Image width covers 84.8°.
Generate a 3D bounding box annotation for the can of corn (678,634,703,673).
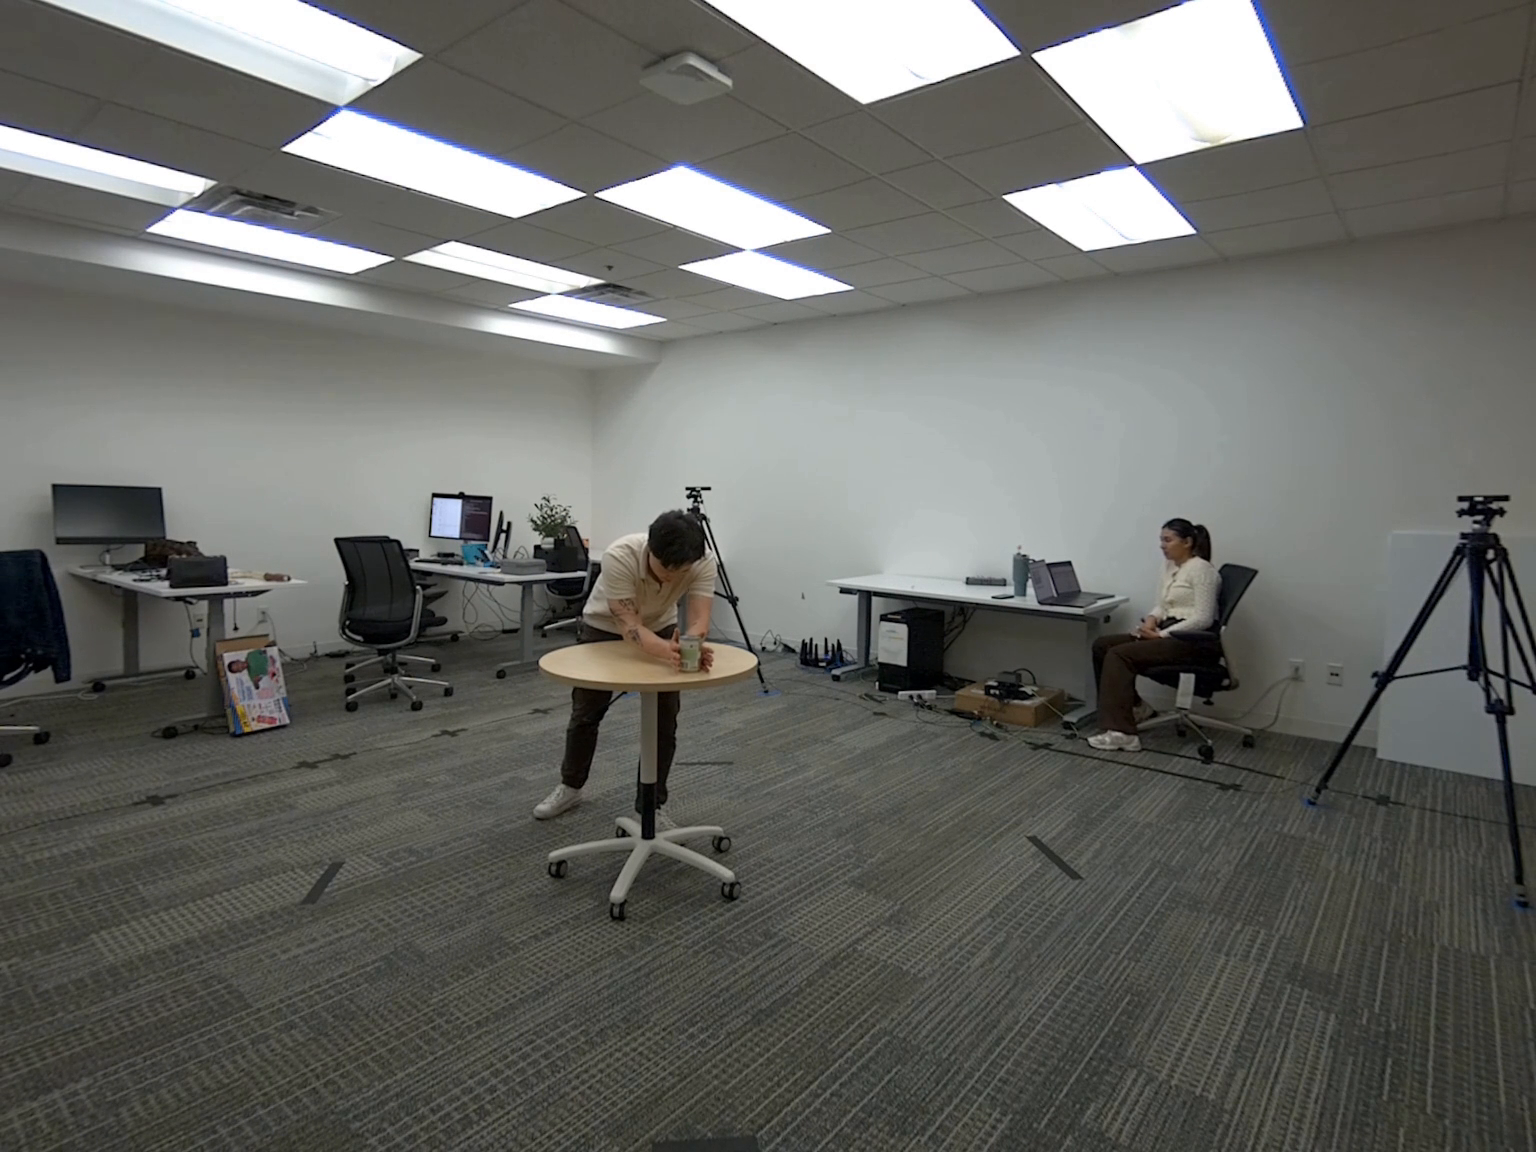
[{"bbox_3d":[-0.279,0.261,2.821,0.074,0.111,0.074,-1,-4,-2],"label":"can of corn"}]
